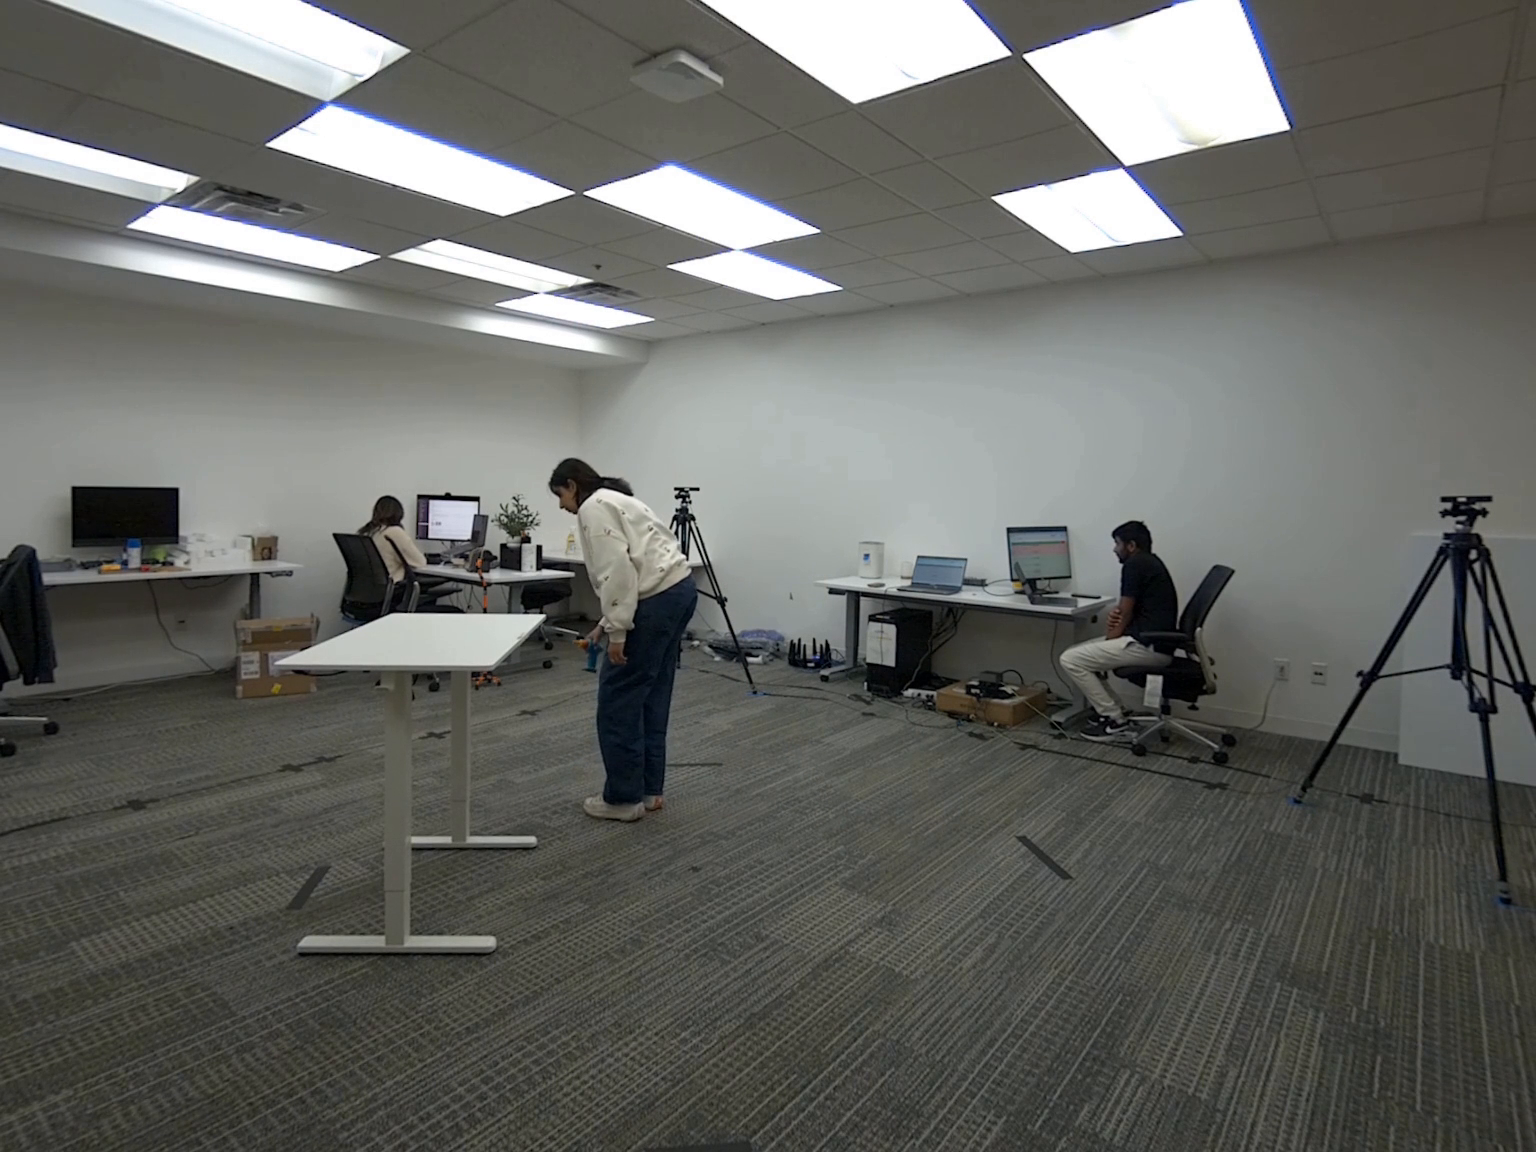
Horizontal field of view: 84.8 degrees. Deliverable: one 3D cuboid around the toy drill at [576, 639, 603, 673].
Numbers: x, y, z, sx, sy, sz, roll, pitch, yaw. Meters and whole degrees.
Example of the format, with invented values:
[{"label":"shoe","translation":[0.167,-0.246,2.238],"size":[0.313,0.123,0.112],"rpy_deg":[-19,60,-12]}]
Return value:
[{"label":"toy drill","translation":[-0.837,0.352,3.838],"size":[0.163,0.147,0.063],"rpy_deg":[23,-17,-38]}]
